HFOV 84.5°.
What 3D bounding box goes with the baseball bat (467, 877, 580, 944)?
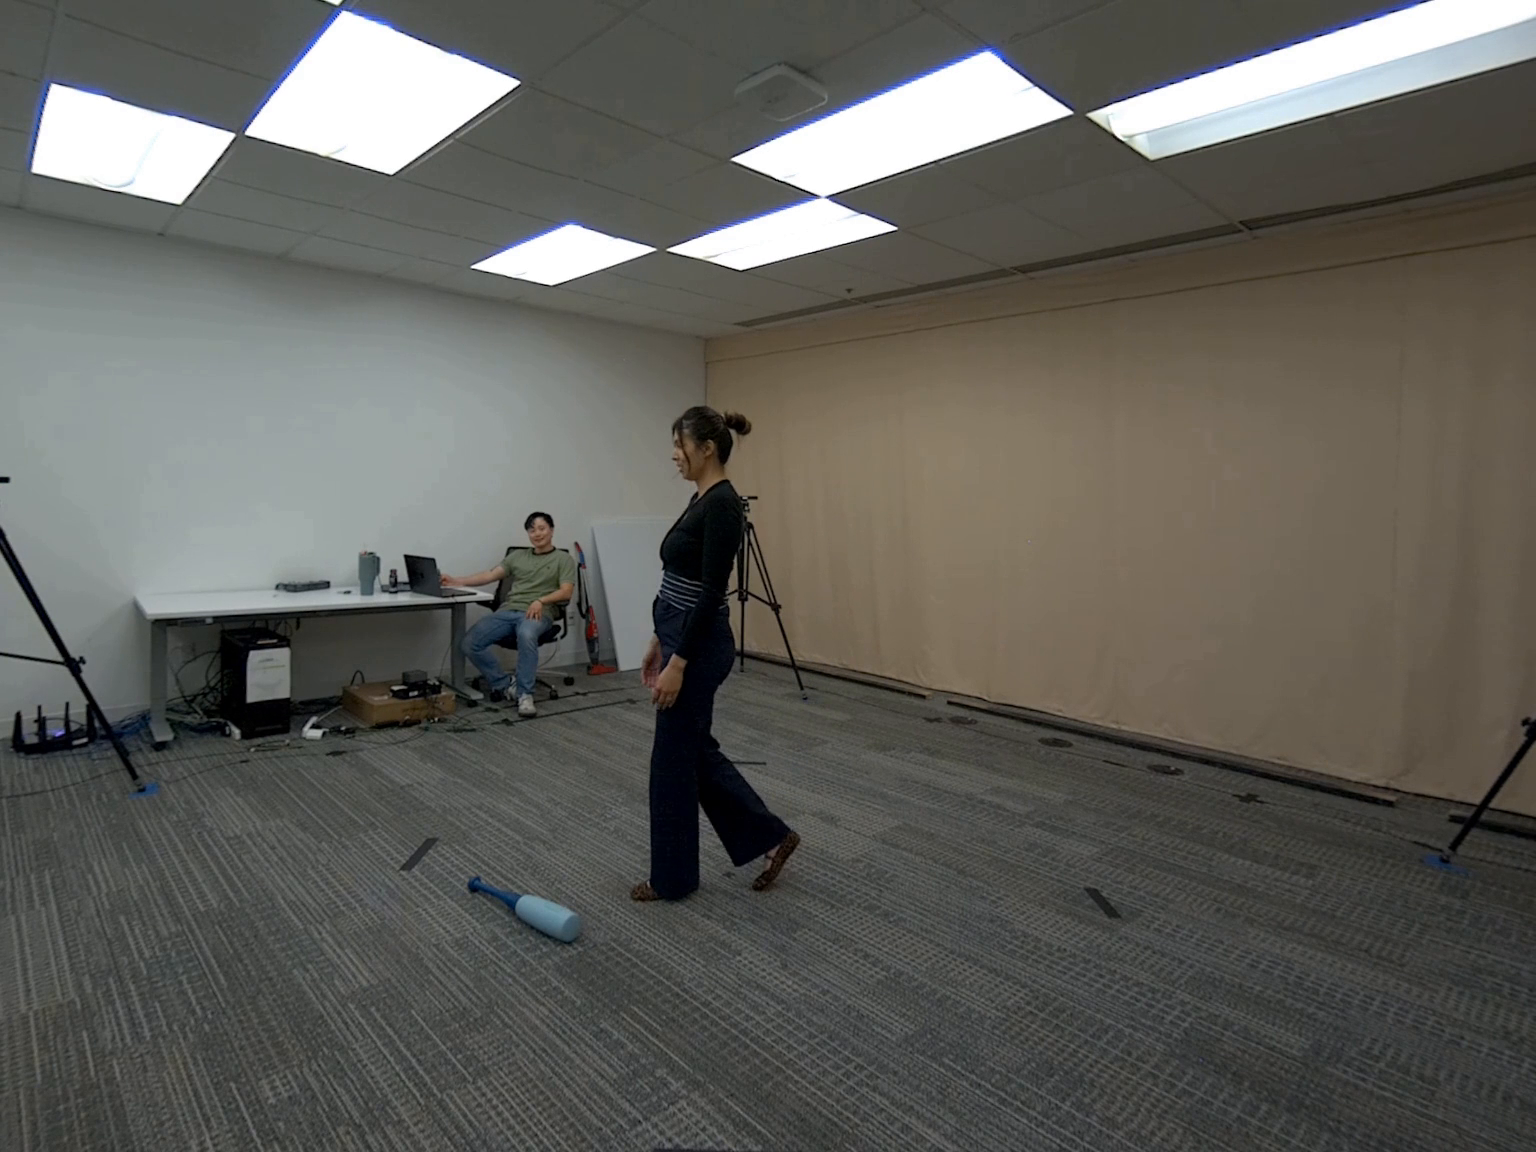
[{"bbox_3d":[-0.827,1.084,2.762,0.556,0.089,0.087,2,4,39],"label":"baseball bat"}]
